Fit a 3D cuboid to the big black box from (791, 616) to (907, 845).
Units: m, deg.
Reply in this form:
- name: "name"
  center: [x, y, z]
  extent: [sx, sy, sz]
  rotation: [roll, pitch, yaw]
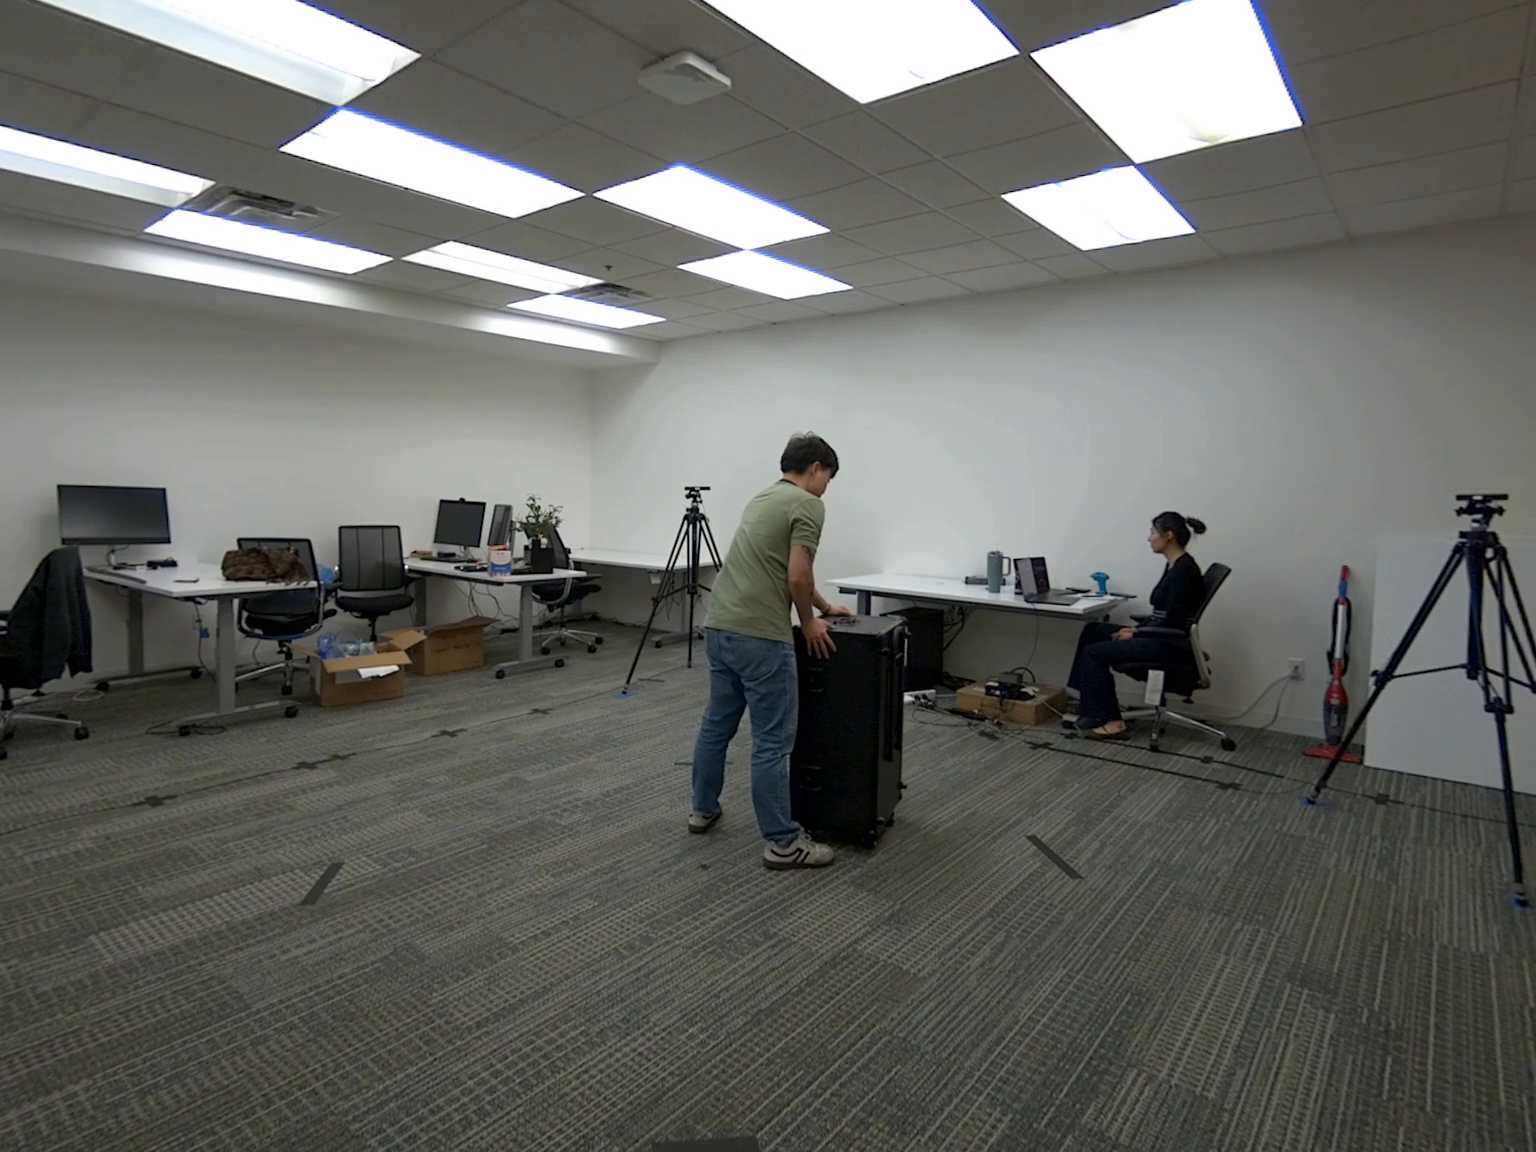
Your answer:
- name: "big black box"
  center: [0.337, 0.610, 3.492]
  extent: [0.406, 0.858, 0.511]
  rotation: [3, 5, 22]
